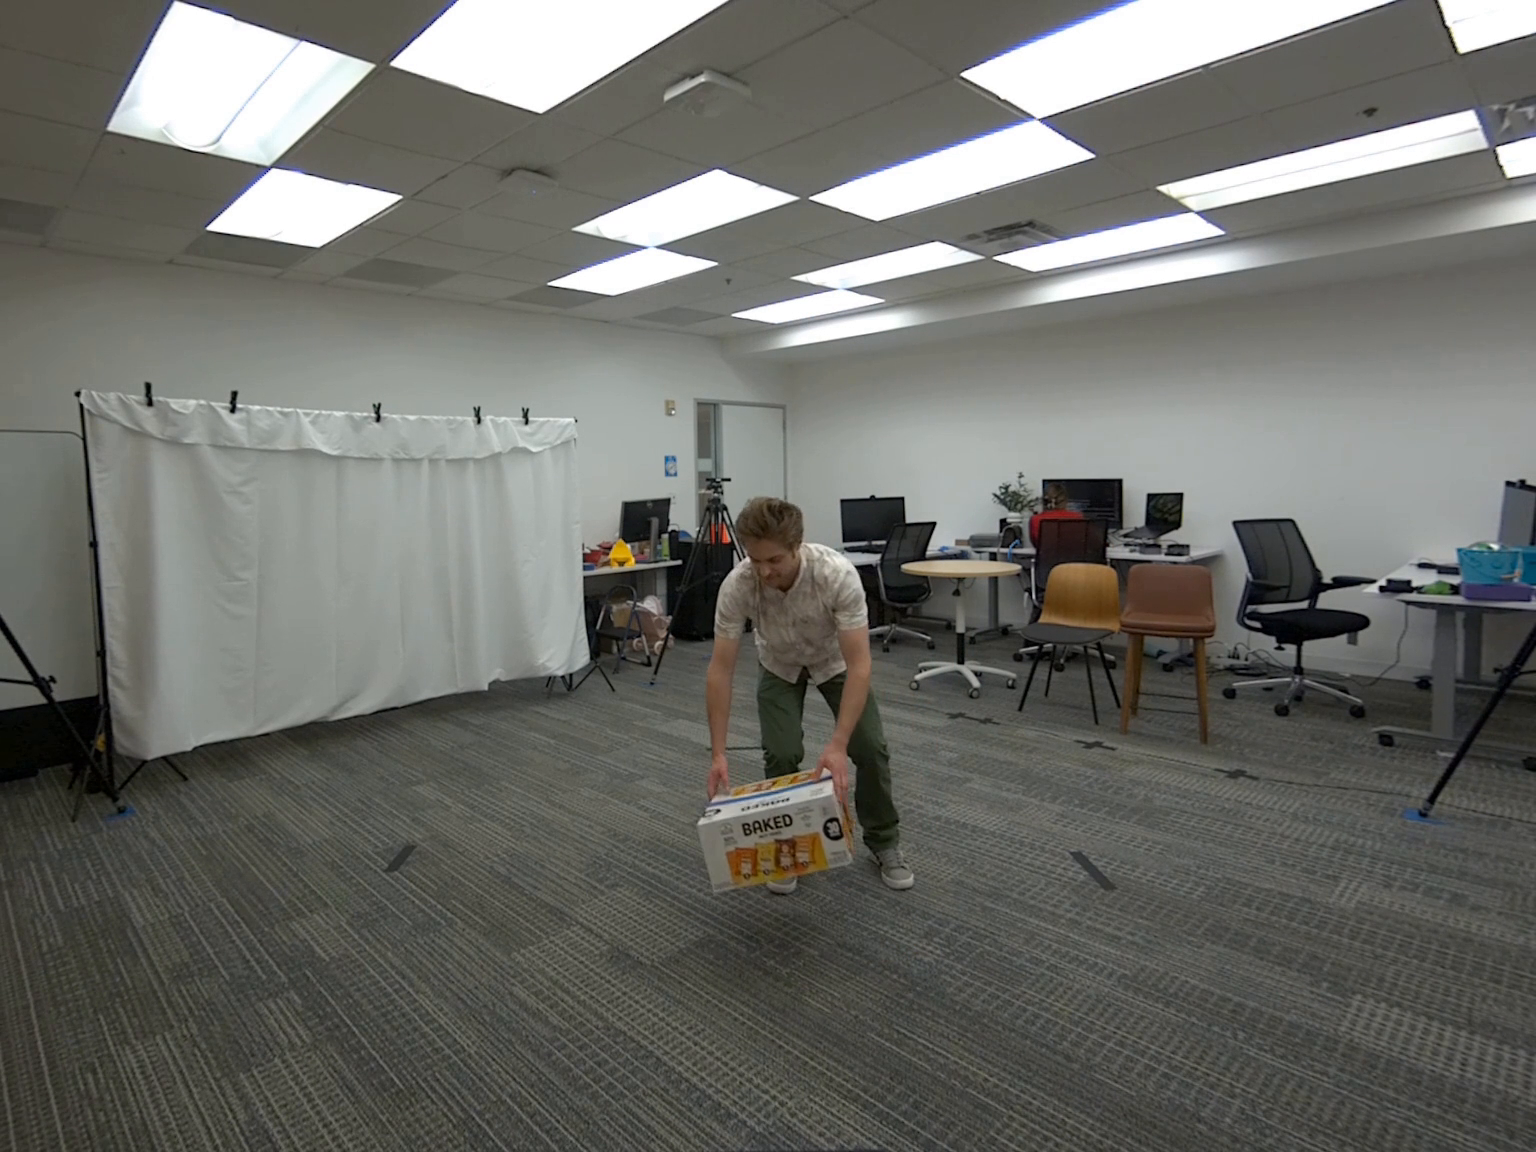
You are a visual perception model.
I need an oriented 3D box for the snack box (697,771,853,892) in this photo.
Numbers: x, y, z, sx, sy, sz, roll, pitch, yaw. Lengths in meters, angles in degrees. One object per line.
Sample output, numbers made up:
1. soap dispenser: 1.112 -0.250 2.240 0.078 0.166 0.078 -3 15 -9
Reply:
1. snack box: 0.037 0.757 2.578 0.407 0.206 0.337 -15 -1 7
